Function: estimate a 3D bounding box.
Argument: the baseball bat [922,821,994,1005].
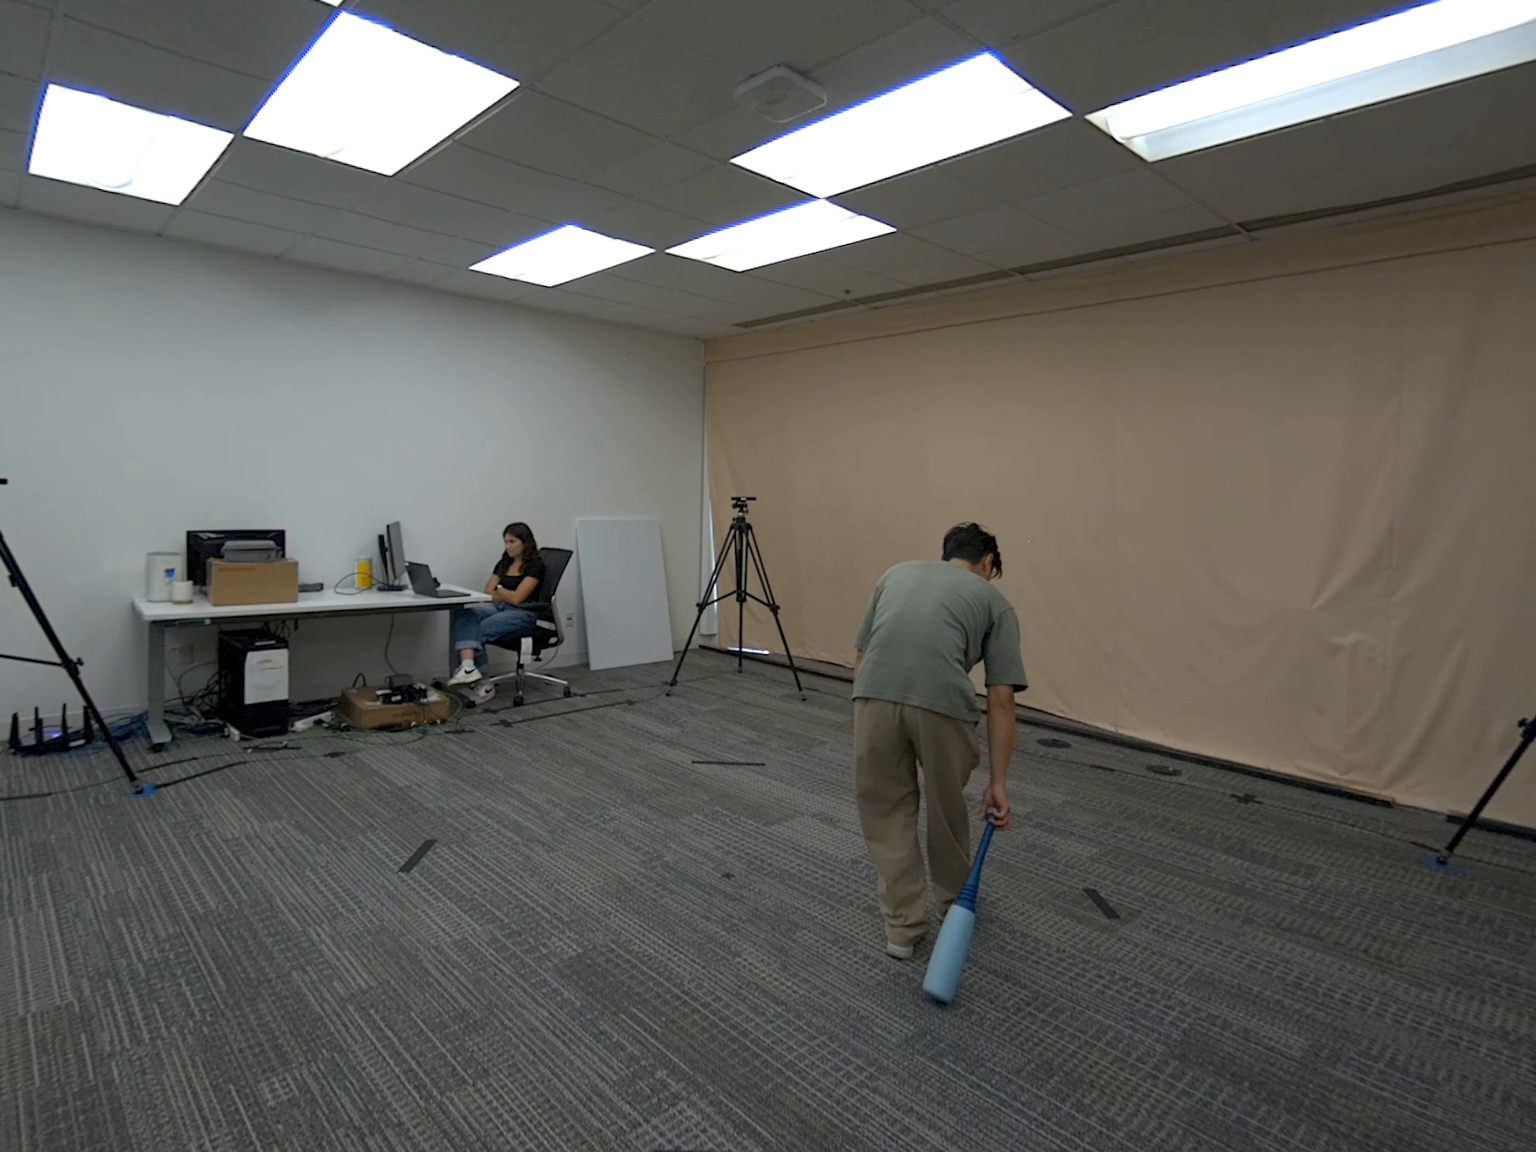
[{"bbox_3d":[0.573,0.959,2.446,0.090,0.546,0.087,24,-24,10],"label":"baseball bat"}]
